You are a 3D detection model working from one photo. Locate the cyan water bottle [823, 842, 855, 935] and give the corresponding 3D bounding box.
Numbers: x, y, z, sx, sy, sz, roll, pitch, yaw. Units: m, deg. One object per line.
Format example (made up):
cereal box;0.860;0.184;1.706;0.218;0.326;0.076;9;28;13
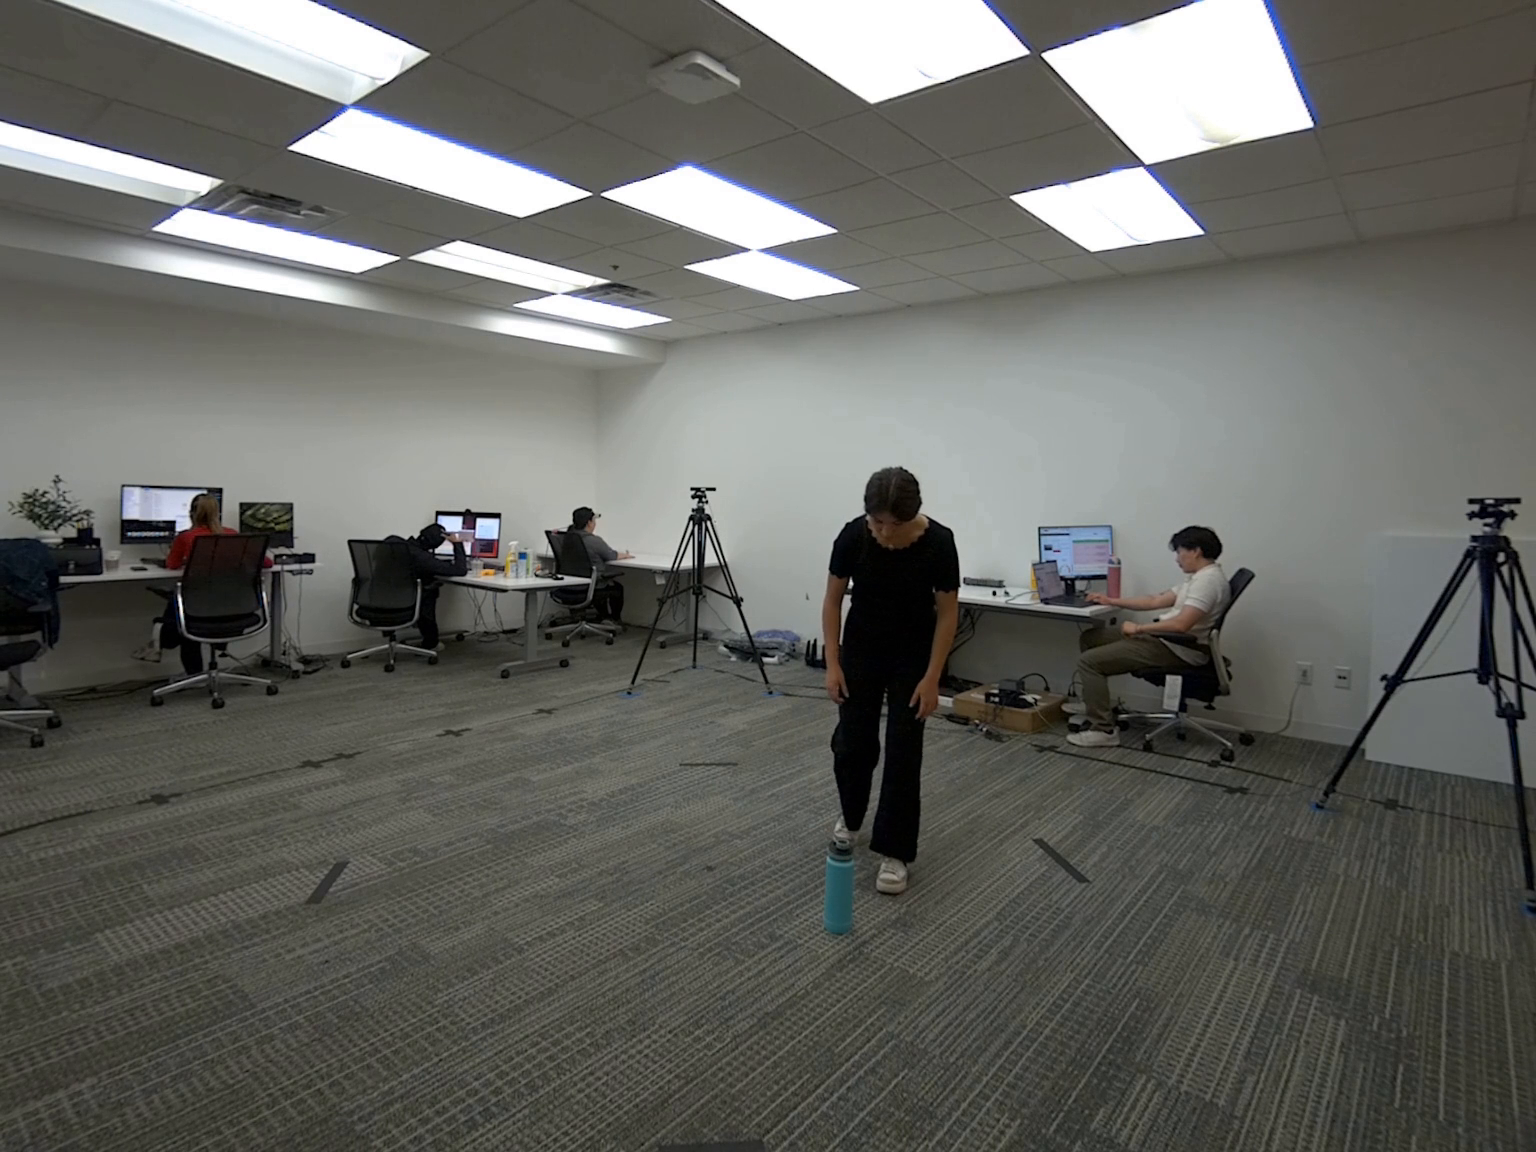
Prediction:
cyan water bottle;0.221;0.977;2.702;0.092;0.282;0.093;2;3;-2
